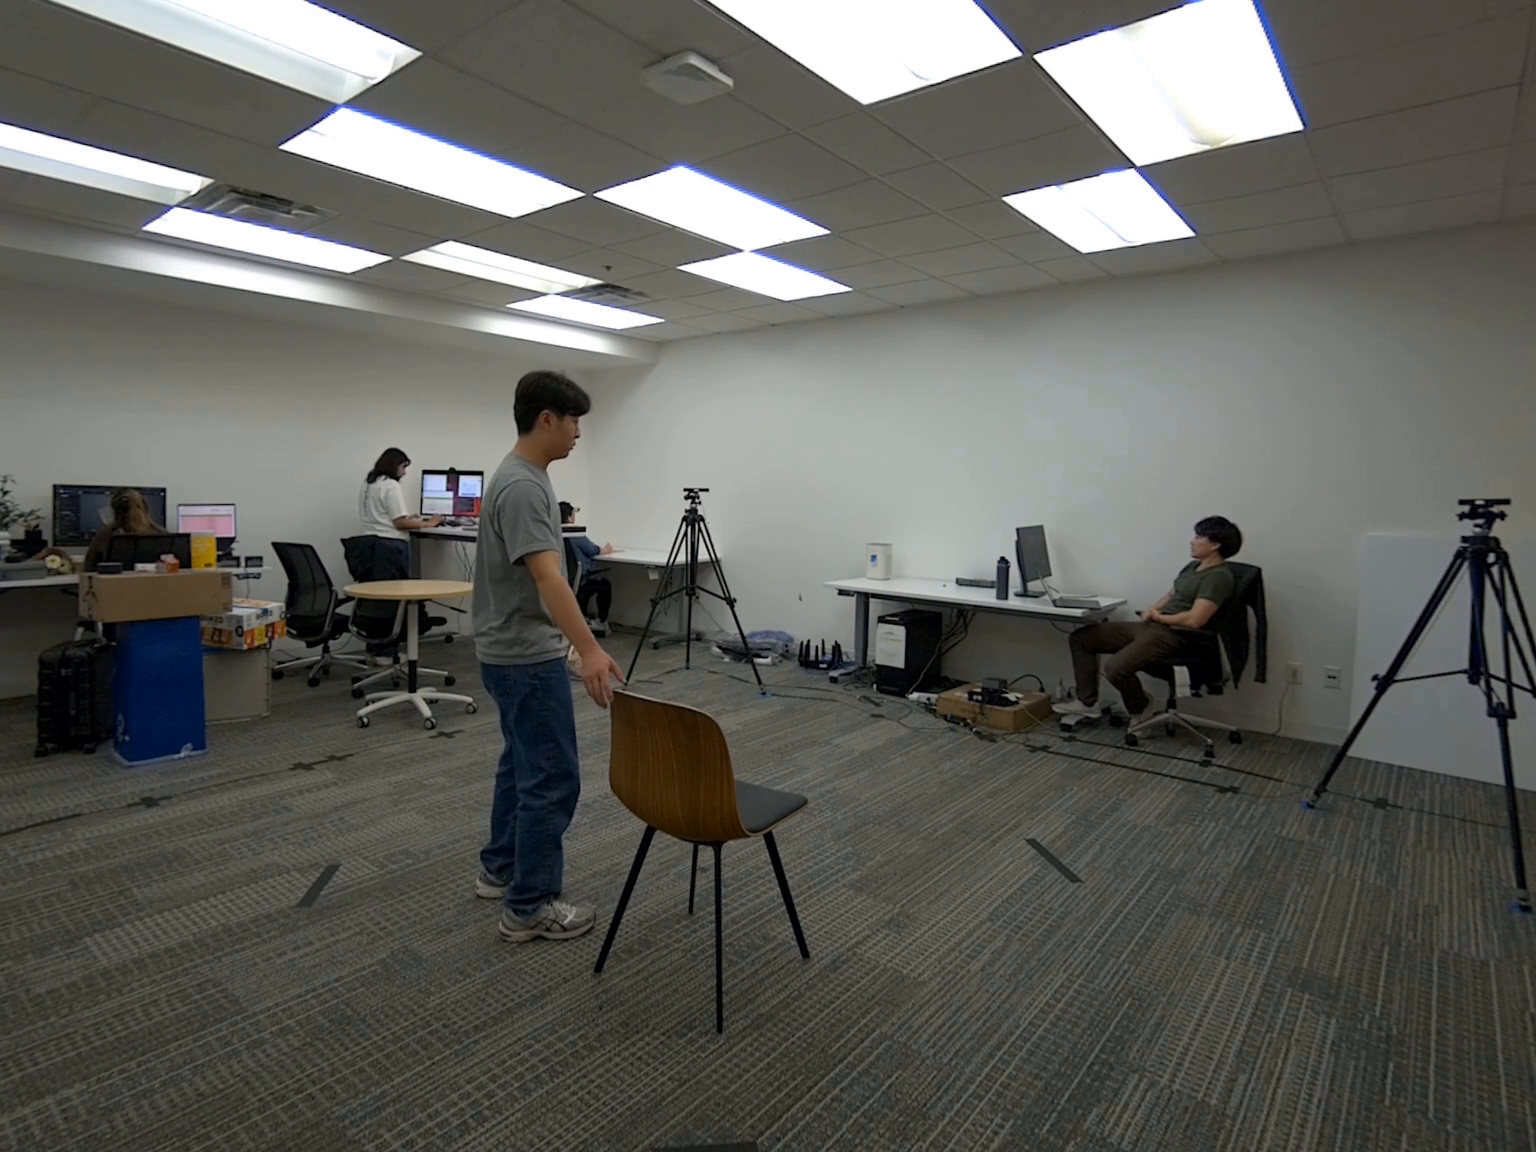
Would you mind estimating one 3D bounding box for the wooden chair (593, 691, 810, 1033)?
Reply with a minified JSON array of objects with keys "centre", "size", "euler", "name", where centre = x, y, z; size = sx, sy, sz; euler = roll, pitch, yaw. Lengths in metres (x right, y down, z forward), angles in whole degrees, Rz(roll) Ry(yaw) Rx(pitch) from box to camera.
[{"centre":[-0.187,0.707,2.459],"size":[0.493,0.871,0.510],"euler":[3,8,34],"name":"wooden chair"}]
